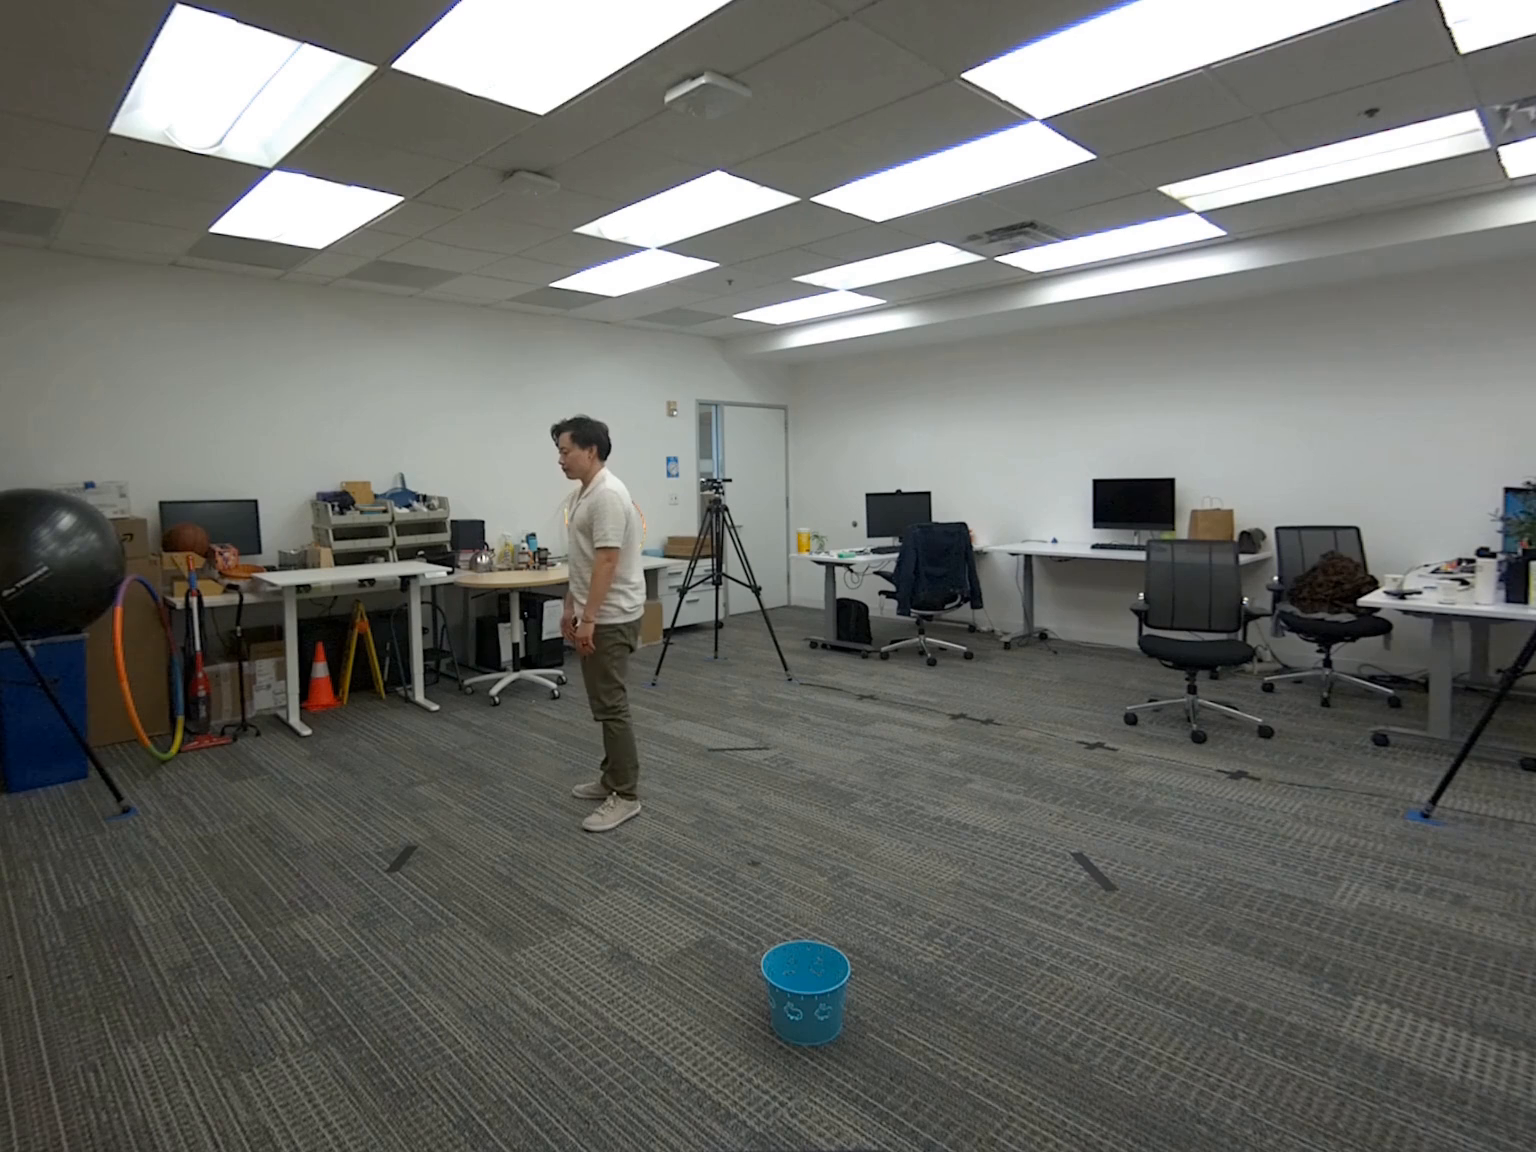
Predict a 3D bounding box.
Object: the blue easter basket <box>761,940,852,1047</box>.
[{"bbox_3d":[0.111,1.074,2.196,0.243,0.155,0.245,-2,6,-2],"label":"blue easter basket"}]
